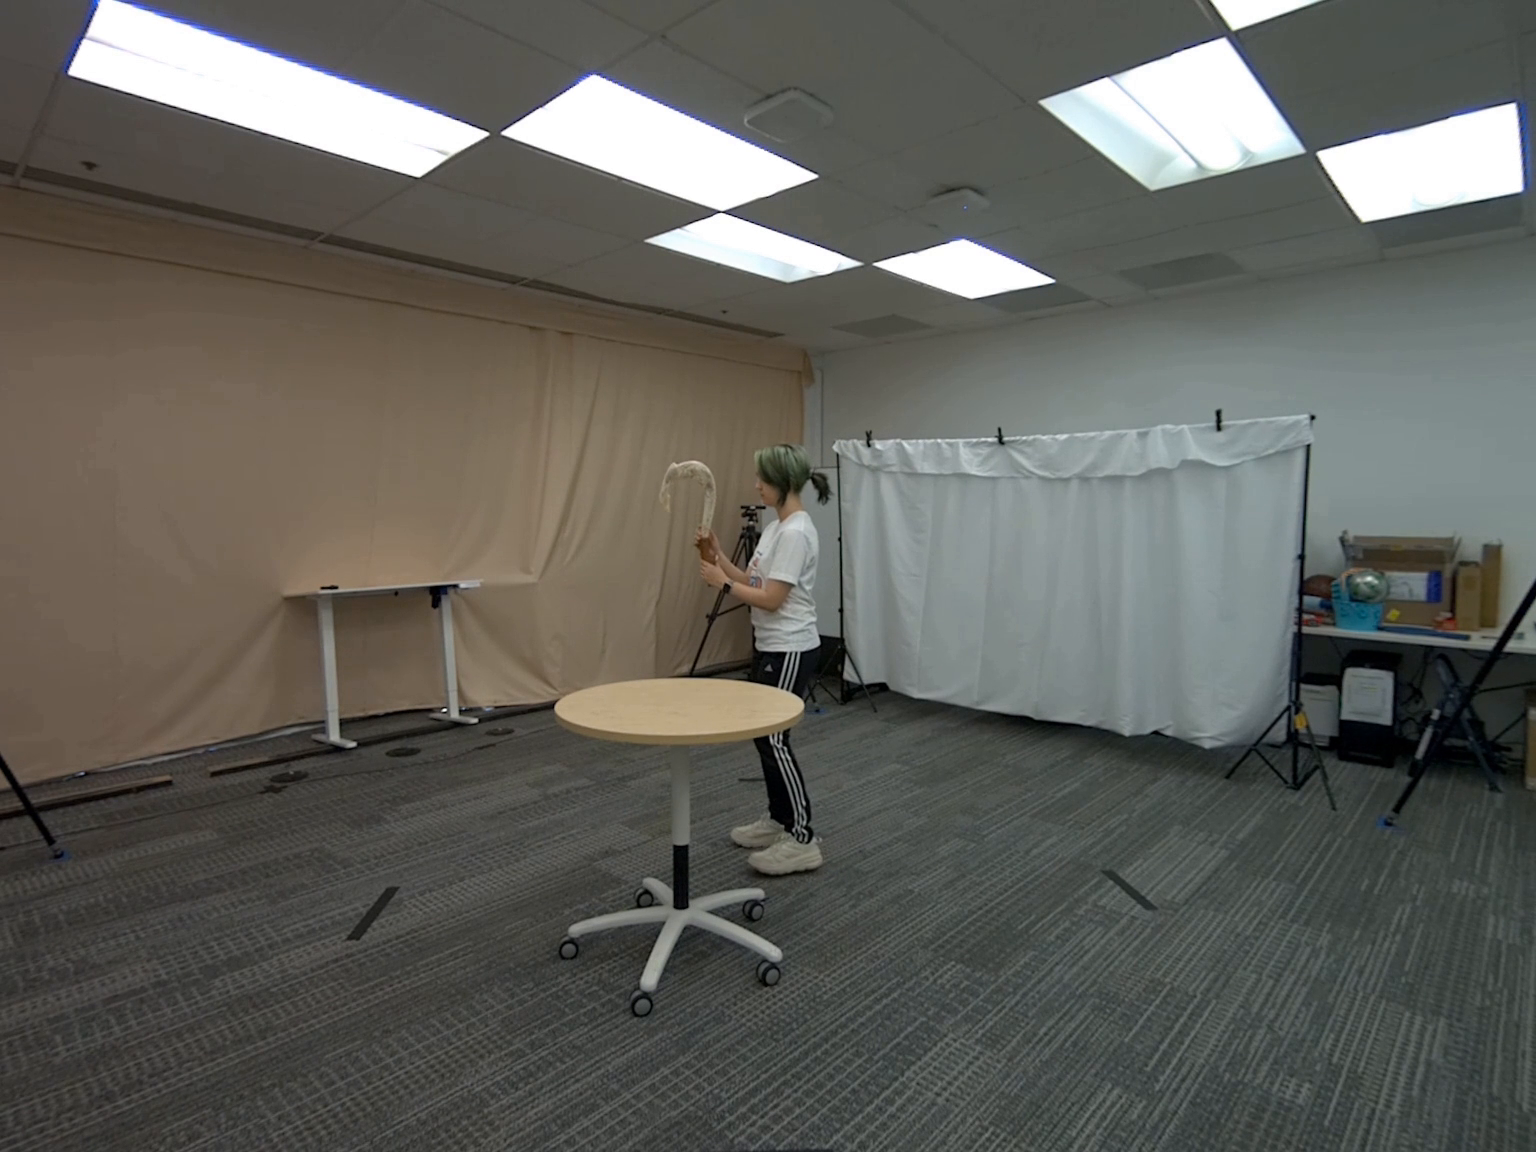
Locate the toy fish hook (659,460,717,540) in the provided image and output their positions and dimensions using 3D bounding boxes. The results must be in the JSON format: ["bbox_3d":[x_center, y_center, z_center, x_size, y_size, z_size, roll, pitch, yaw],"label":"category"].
[{"bbox_3d":[-0.299,-0.202,3.358,0.225,0.503,0.048,-6,9,3],"label":"toy fish hook"}]
